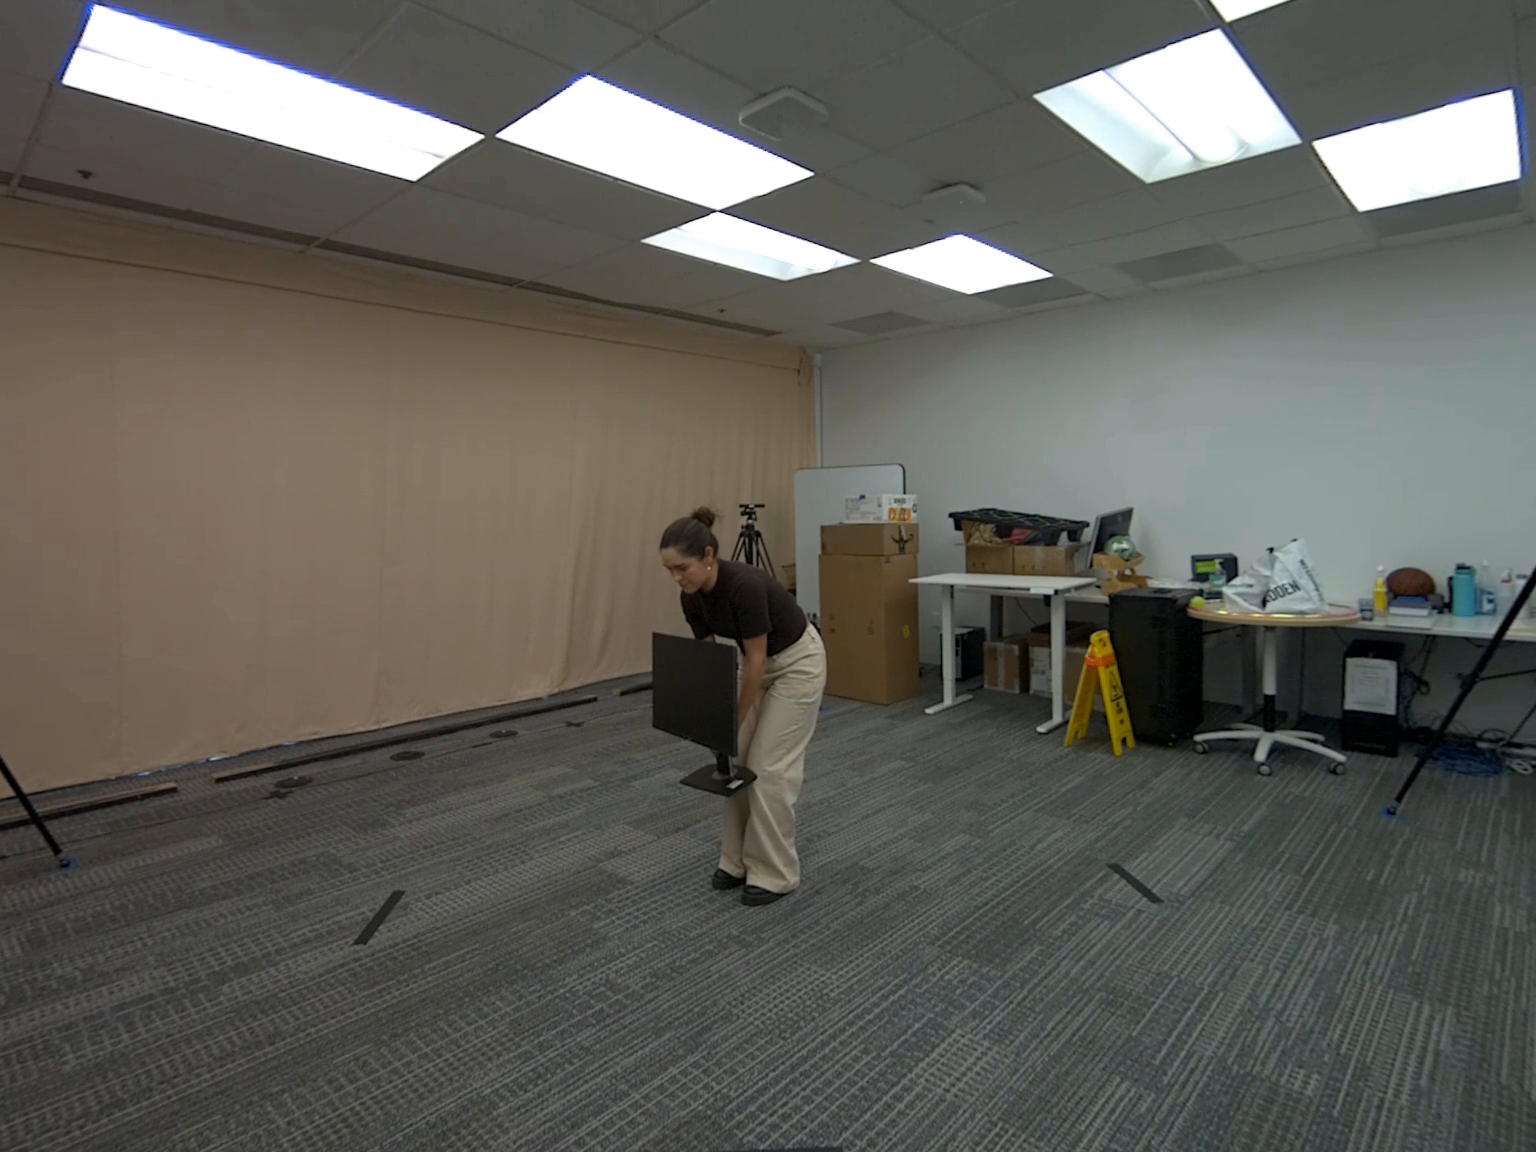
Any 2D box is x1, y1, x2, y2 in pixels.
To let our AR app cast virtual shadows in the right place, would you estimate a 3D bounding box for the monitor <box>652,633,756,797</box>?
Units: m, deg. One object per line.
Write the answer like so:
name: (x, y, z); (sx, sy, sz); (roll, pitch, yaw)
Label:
monitor: (-0.220, 0.473, 2.917); (0.182, 0.519, 0.556); (-16, 10, -36)
